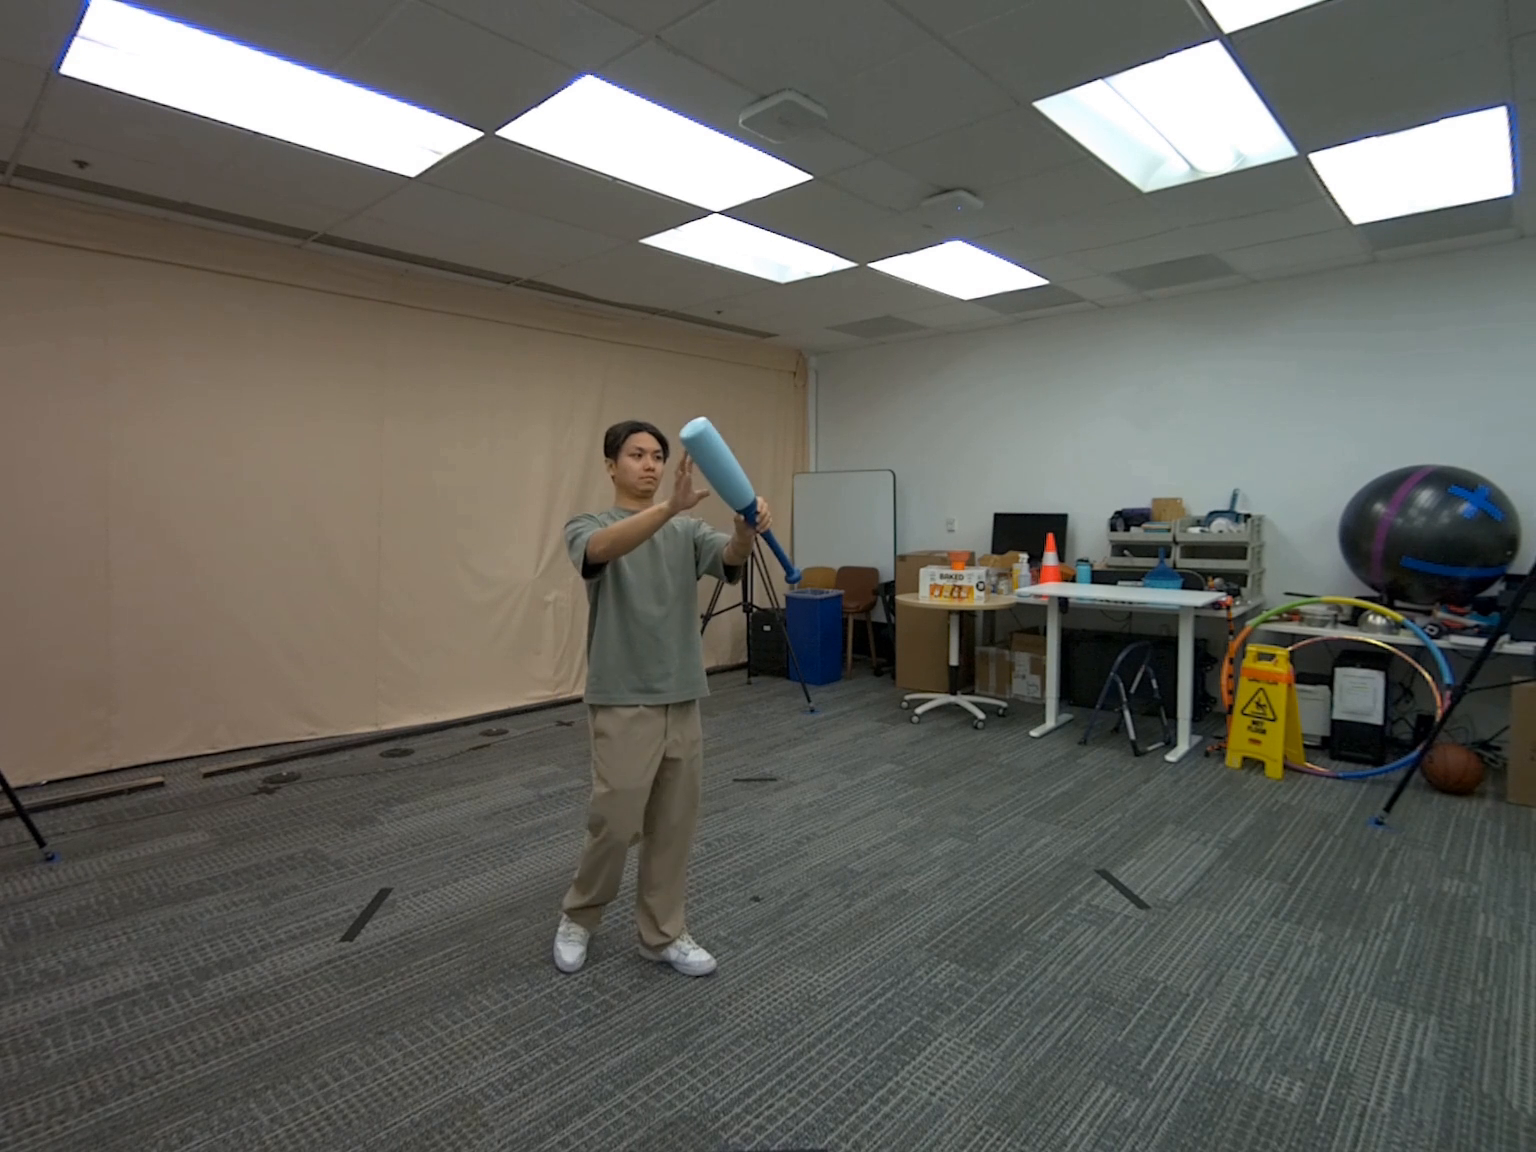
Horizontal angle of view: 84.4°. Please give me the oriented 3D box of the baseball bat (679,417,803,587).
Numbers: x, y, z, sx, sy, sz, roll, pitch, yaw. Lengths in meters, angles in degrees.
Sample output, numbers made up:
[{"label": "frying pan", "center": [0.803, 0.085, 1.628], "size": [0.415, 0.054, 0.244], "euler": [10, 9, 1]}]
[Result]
[{"label": "baseball bat", "center": [-0.059, -0.173, 2.142], "size": [0.090, 0.528, 0.090], "euler": [-27, 28, 14]}]
